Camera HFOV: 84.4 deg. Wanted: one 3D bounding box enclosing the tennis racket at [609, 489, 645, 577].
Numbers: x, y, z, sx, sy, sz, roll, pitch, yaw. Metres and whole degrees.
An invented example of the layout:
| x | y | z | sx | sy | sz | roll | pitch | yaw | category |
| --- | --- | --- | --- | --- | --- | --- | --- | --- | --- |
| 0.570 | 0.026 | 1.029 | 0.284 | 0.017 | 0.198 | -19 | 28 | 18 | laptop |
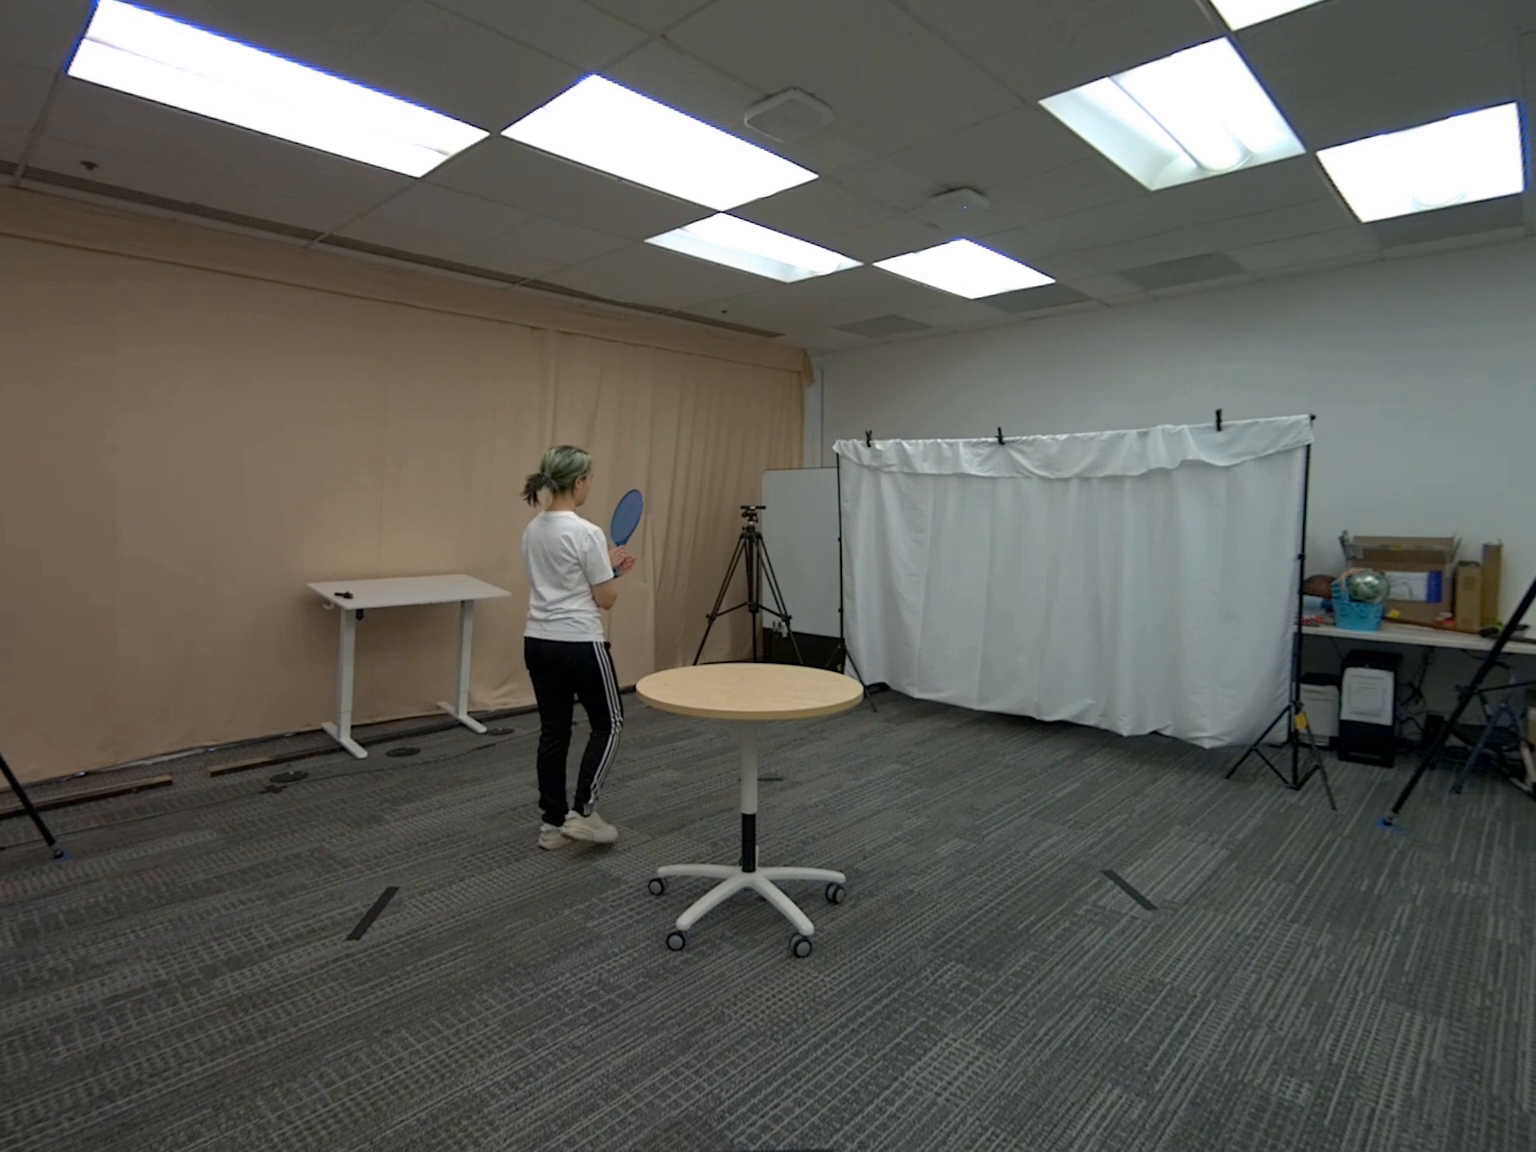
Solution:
| x | y | z | sx | sy | sz | roll | pitch | yaw | category |
| --- | --- | --- | --- | --- | --- | --- | --- | --- | --- |
| -0.639 | -0.191 | 3.720 | 0.219 | 0.437 | 0.030 | -14 | -33 | 42 | tennis racket |
